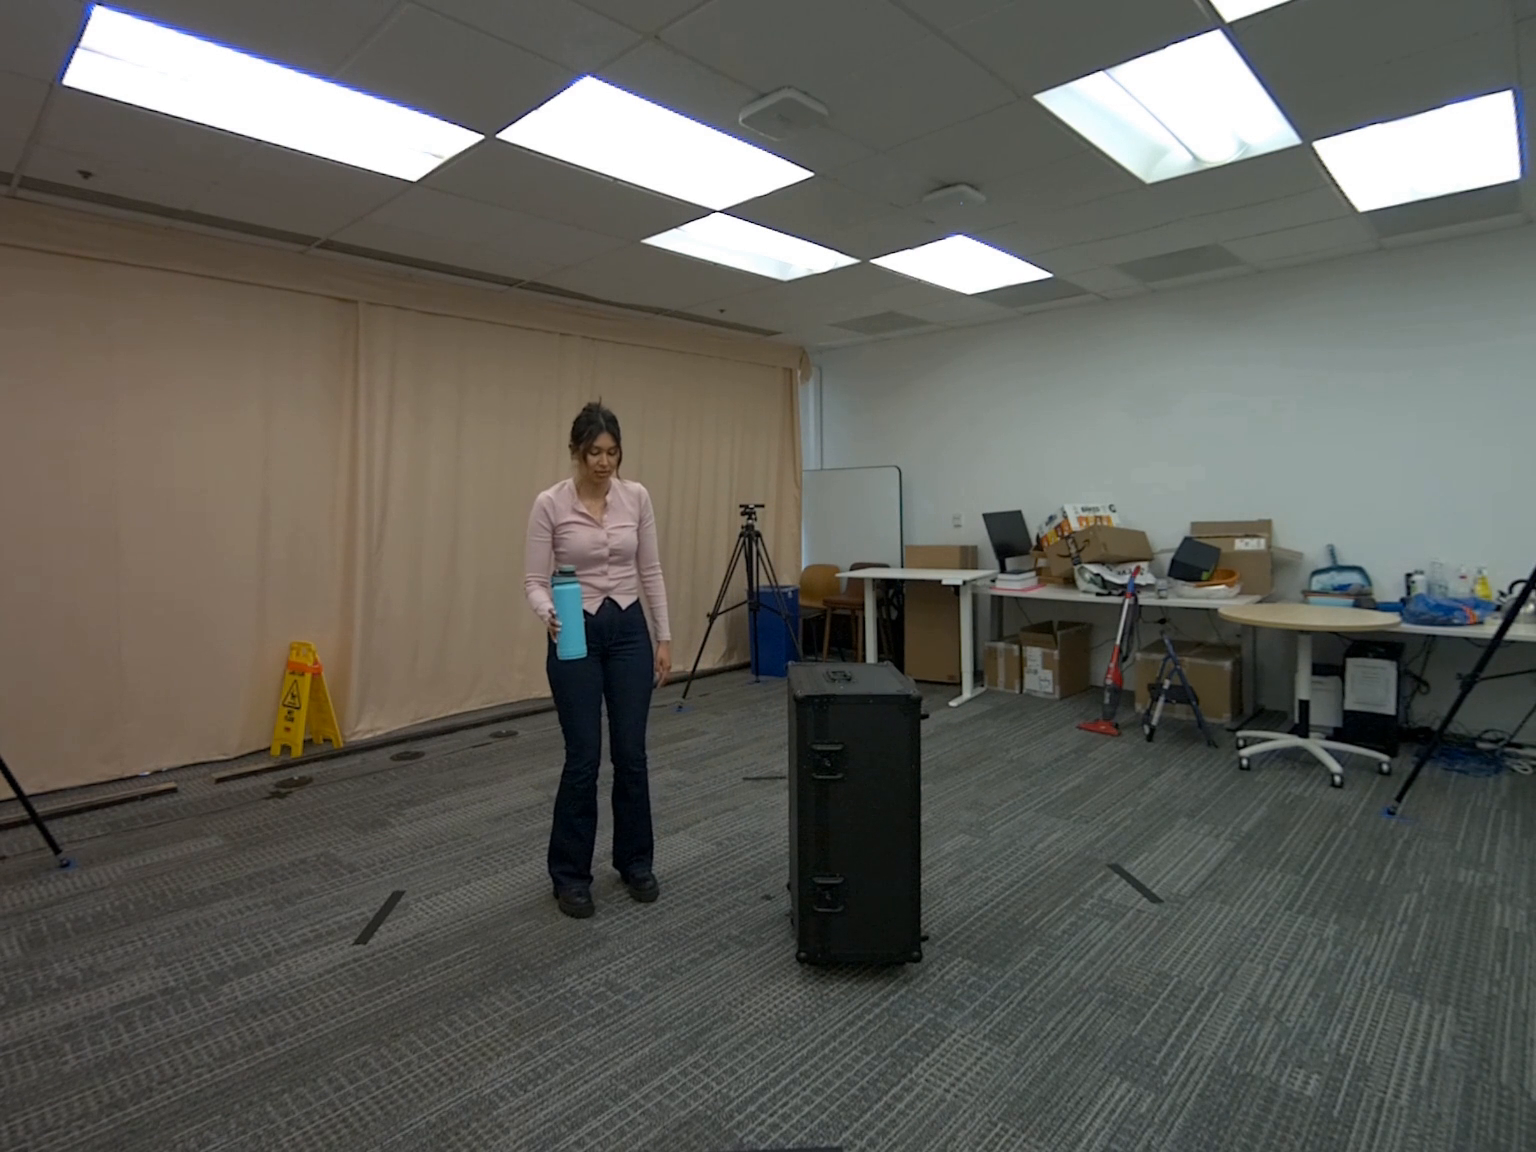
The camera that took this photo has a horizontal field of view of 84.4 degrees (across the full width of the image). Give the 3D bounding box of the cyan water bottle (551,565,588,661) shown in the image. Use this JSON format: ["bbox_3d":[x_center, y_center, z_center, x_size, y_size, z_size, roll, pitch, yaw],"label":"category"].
[{"bbox_3d":[-0.620,0.110,2.602,0.092,0.284,0.092,-6,-1,-2],"label":"cyan water bottle"}]
